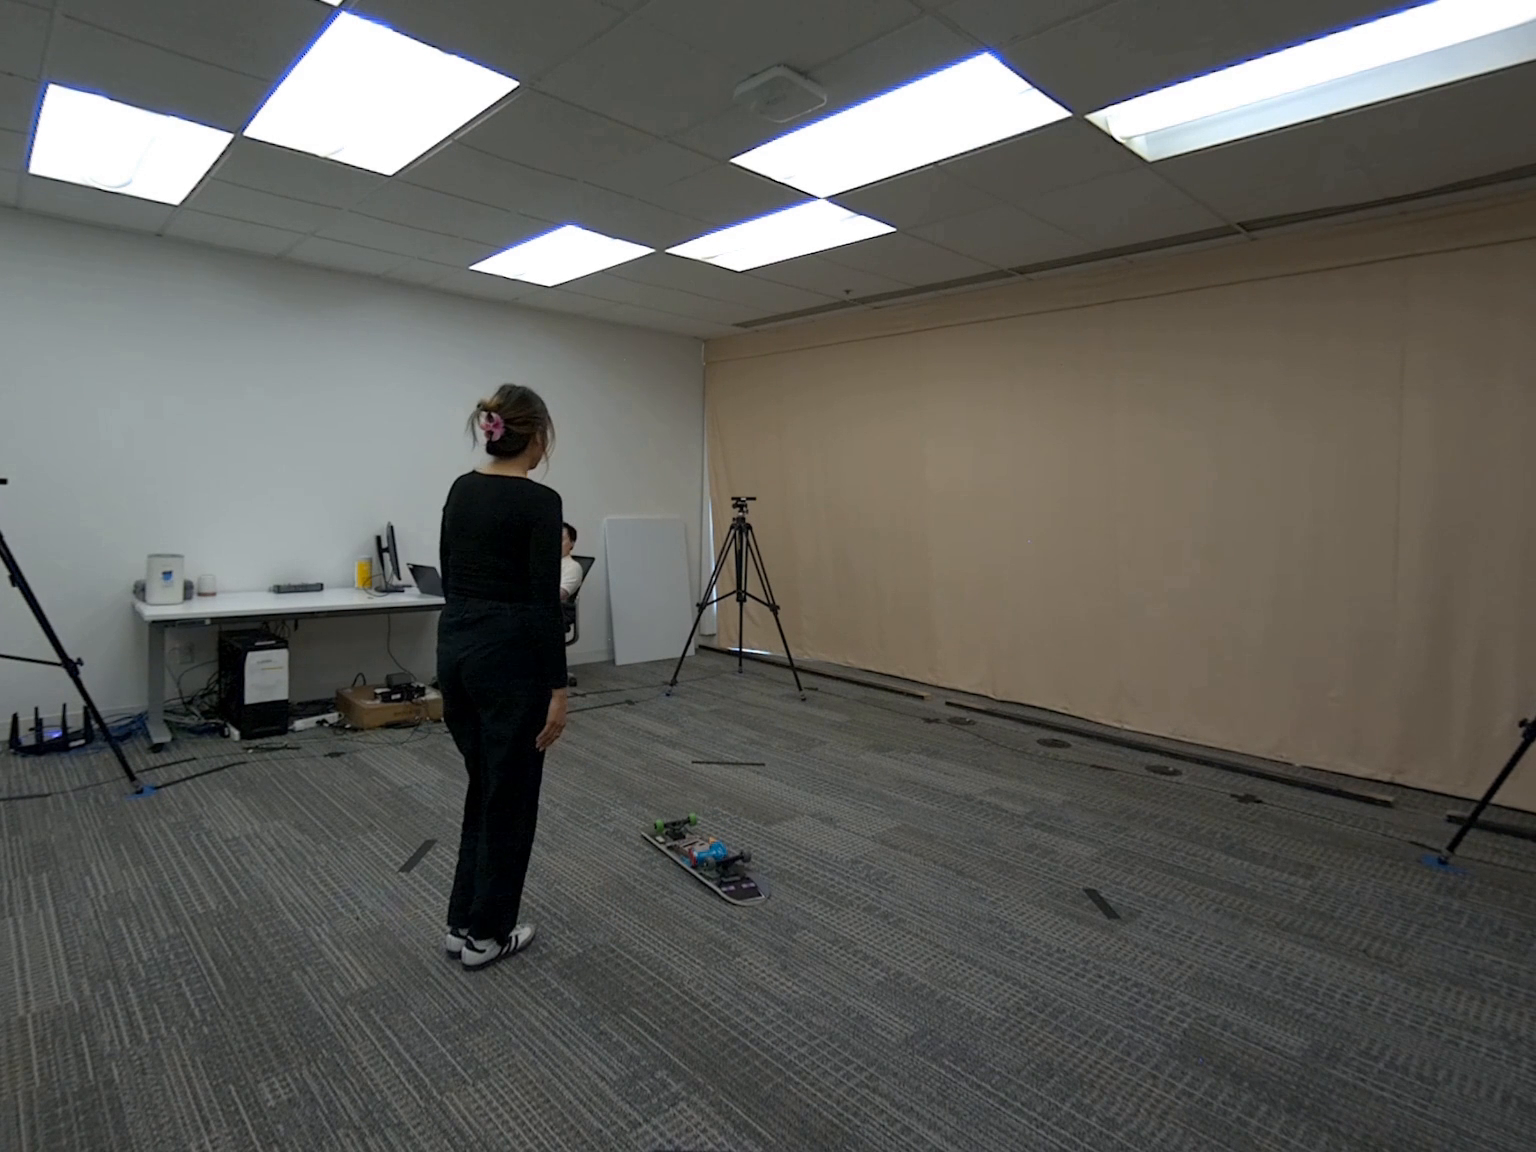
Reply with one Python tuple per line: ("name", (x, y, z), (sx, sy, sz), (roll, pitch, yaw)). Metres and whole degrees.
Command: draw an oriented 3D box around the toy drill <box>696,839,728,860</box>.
("toy drill", (-0.234, 1.035, 3.179), (0.144, 0.061, 0.174), (-2, 13, -21))
